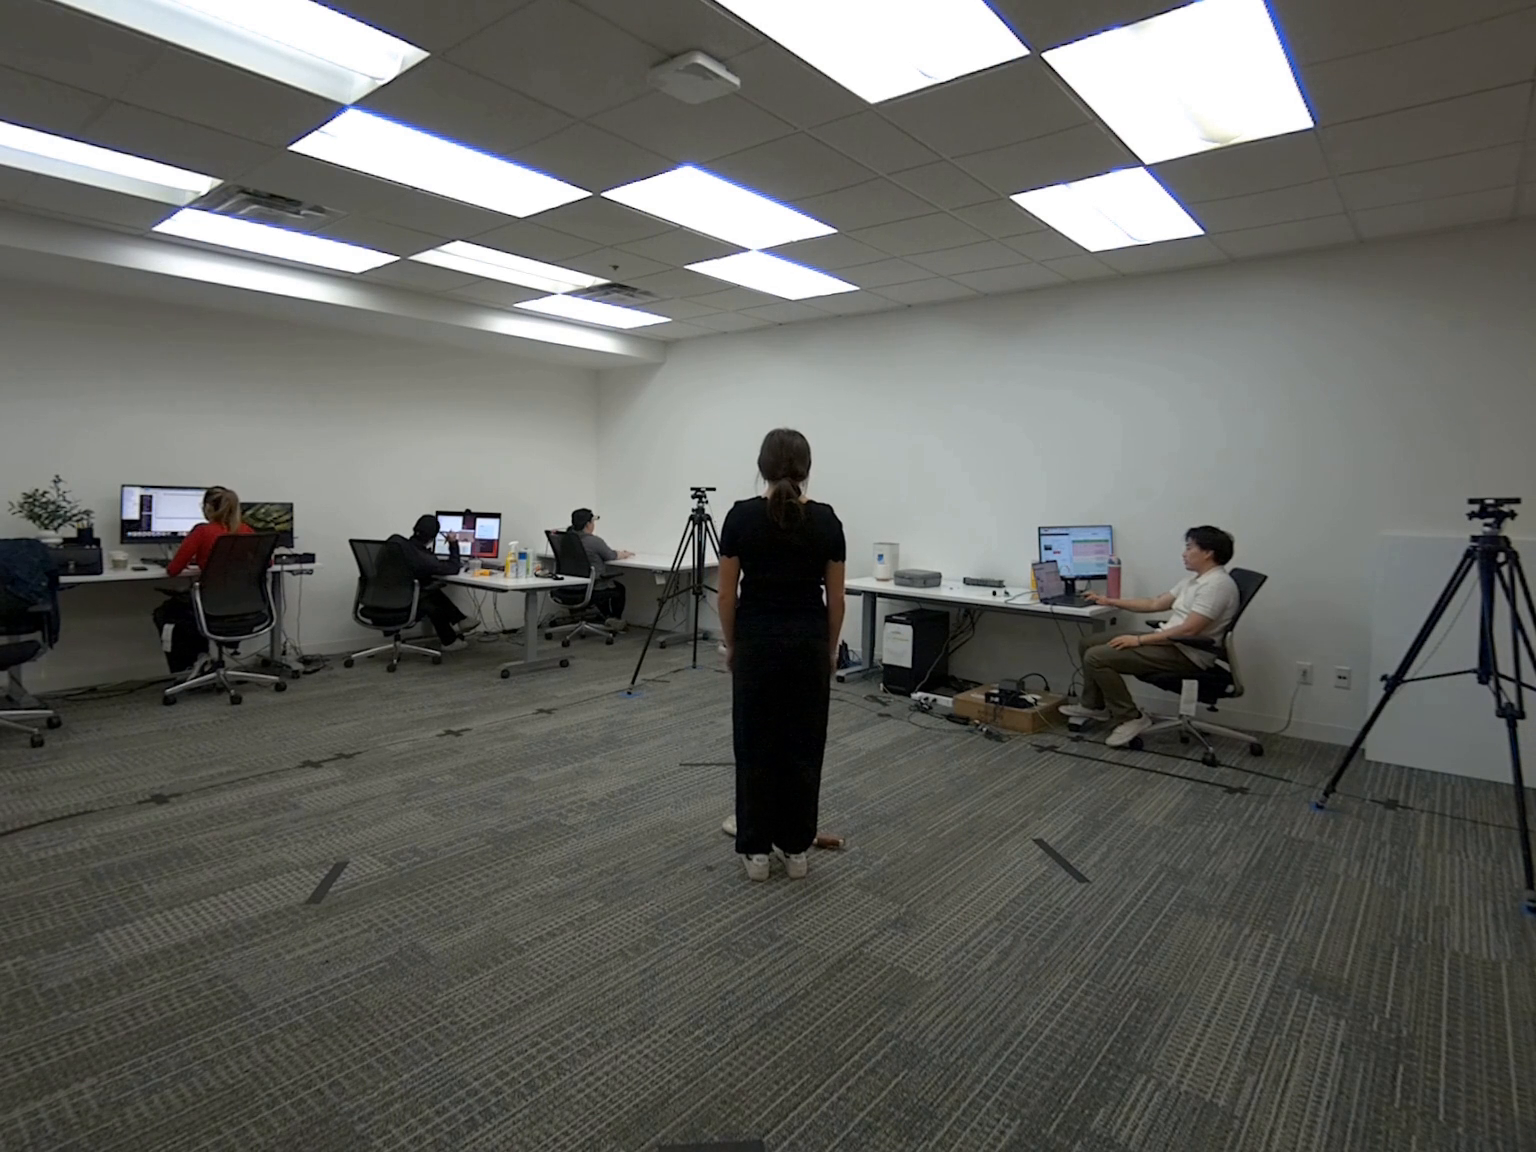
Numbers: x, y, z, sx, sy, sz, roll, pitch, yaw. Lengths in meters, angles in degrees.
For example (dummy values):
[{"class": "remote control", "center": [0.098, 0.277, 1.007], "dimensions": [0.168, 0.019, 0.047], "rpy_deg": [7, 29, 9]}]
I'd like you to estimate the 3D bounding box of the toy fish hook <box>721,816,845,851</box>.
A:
[{"class": "toy fish hook", "center": [0.061, 1.015, 3.427], "dimensions": [0.517, 0.048, 0.221], "rpy_deg": [3, 8, 18]}]
